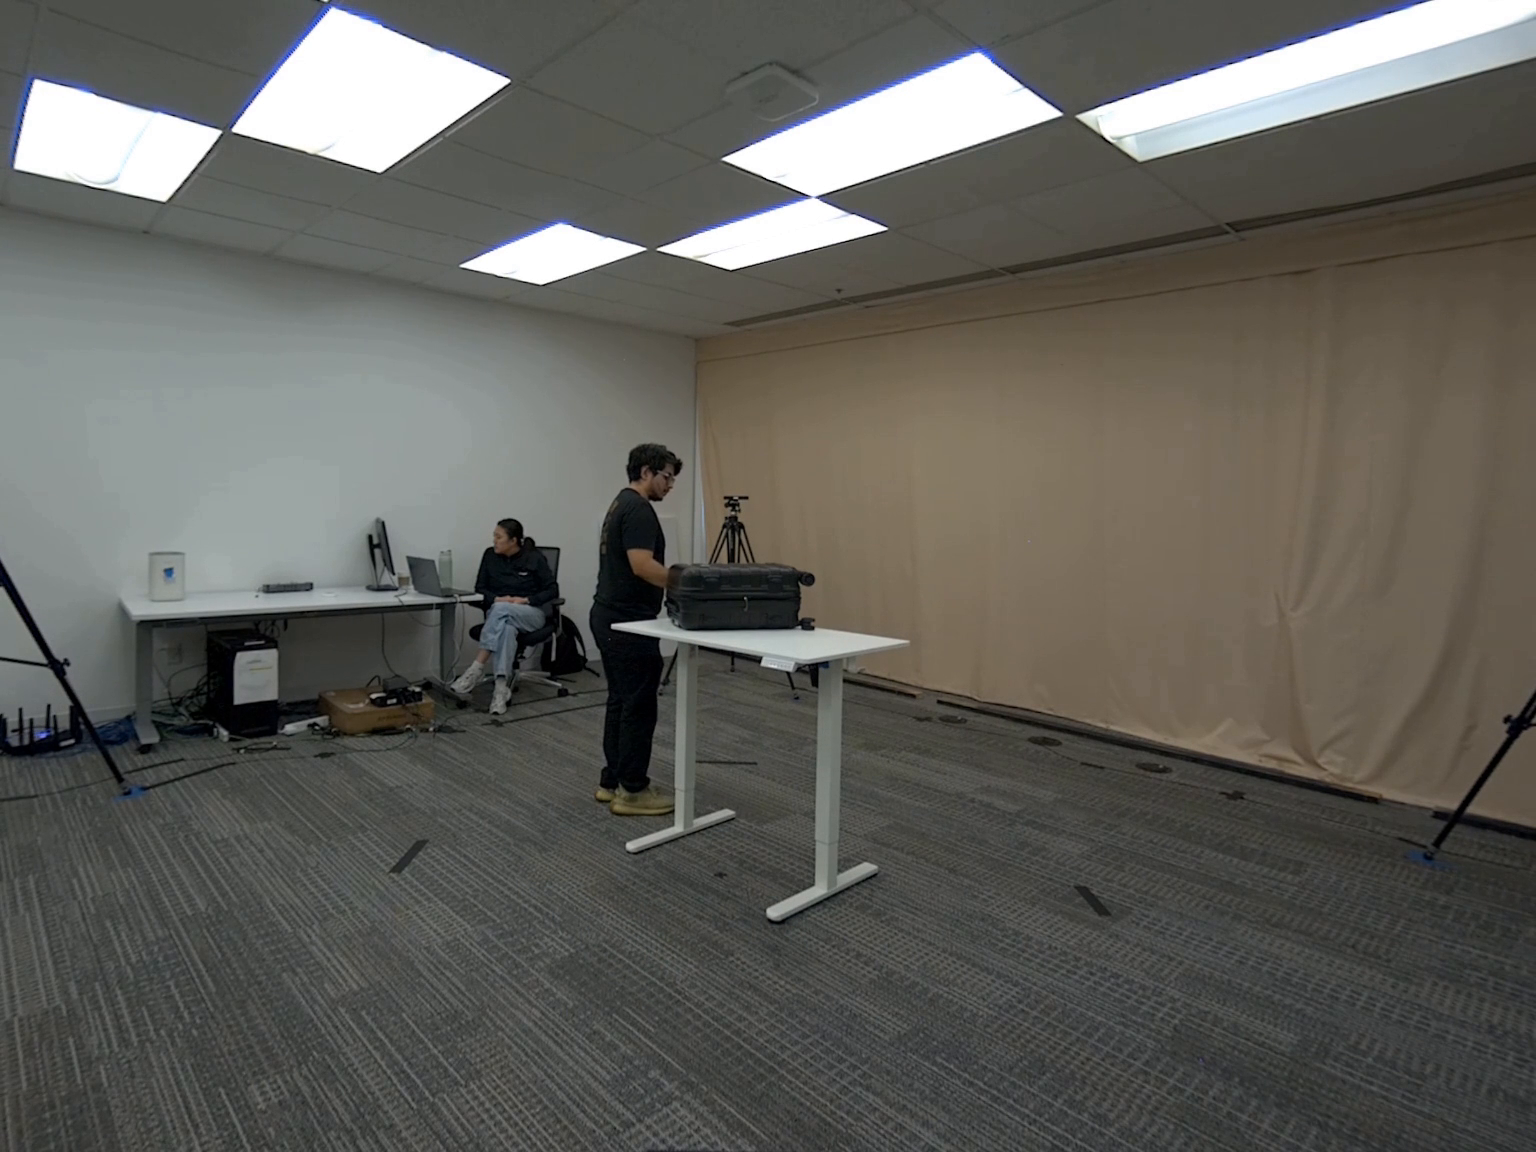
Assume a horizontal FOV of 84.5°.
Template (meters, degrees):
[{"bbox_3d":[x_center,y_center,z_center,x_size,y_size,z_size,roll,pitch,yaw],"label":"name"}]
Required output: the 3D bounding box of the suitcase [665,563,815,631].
[{"bbox_3d":[-0.134,0.082,3.383,0.543,0.248,0.381,0,4,-15],"label":"suitcase"}]
